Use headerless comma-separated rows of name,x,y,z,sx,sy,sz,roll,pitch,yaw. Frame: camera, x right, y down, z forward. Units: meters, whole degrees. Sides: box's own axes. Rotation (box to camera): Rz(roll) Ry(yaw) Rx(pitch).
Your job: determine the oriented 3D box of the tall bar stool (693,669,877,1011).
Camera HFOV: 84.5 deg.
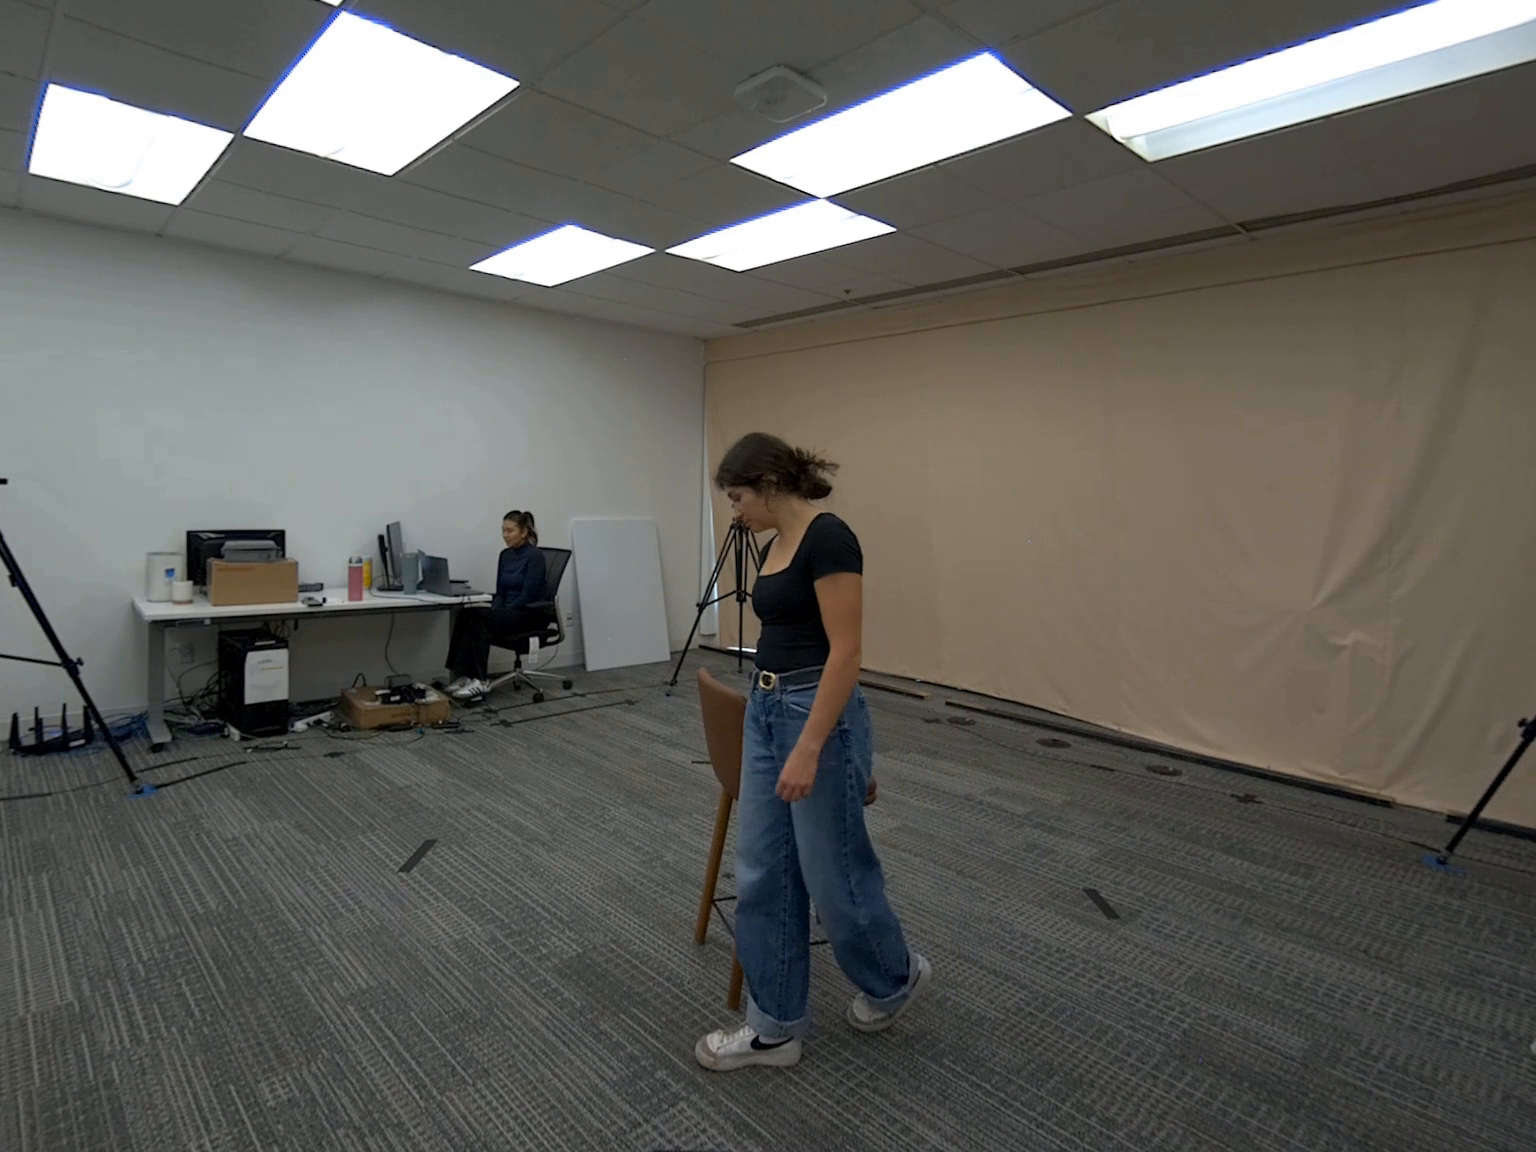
tall bar stool,0.042,0.734,2.503,0.461,0.887,0.464,-1,5,-19
